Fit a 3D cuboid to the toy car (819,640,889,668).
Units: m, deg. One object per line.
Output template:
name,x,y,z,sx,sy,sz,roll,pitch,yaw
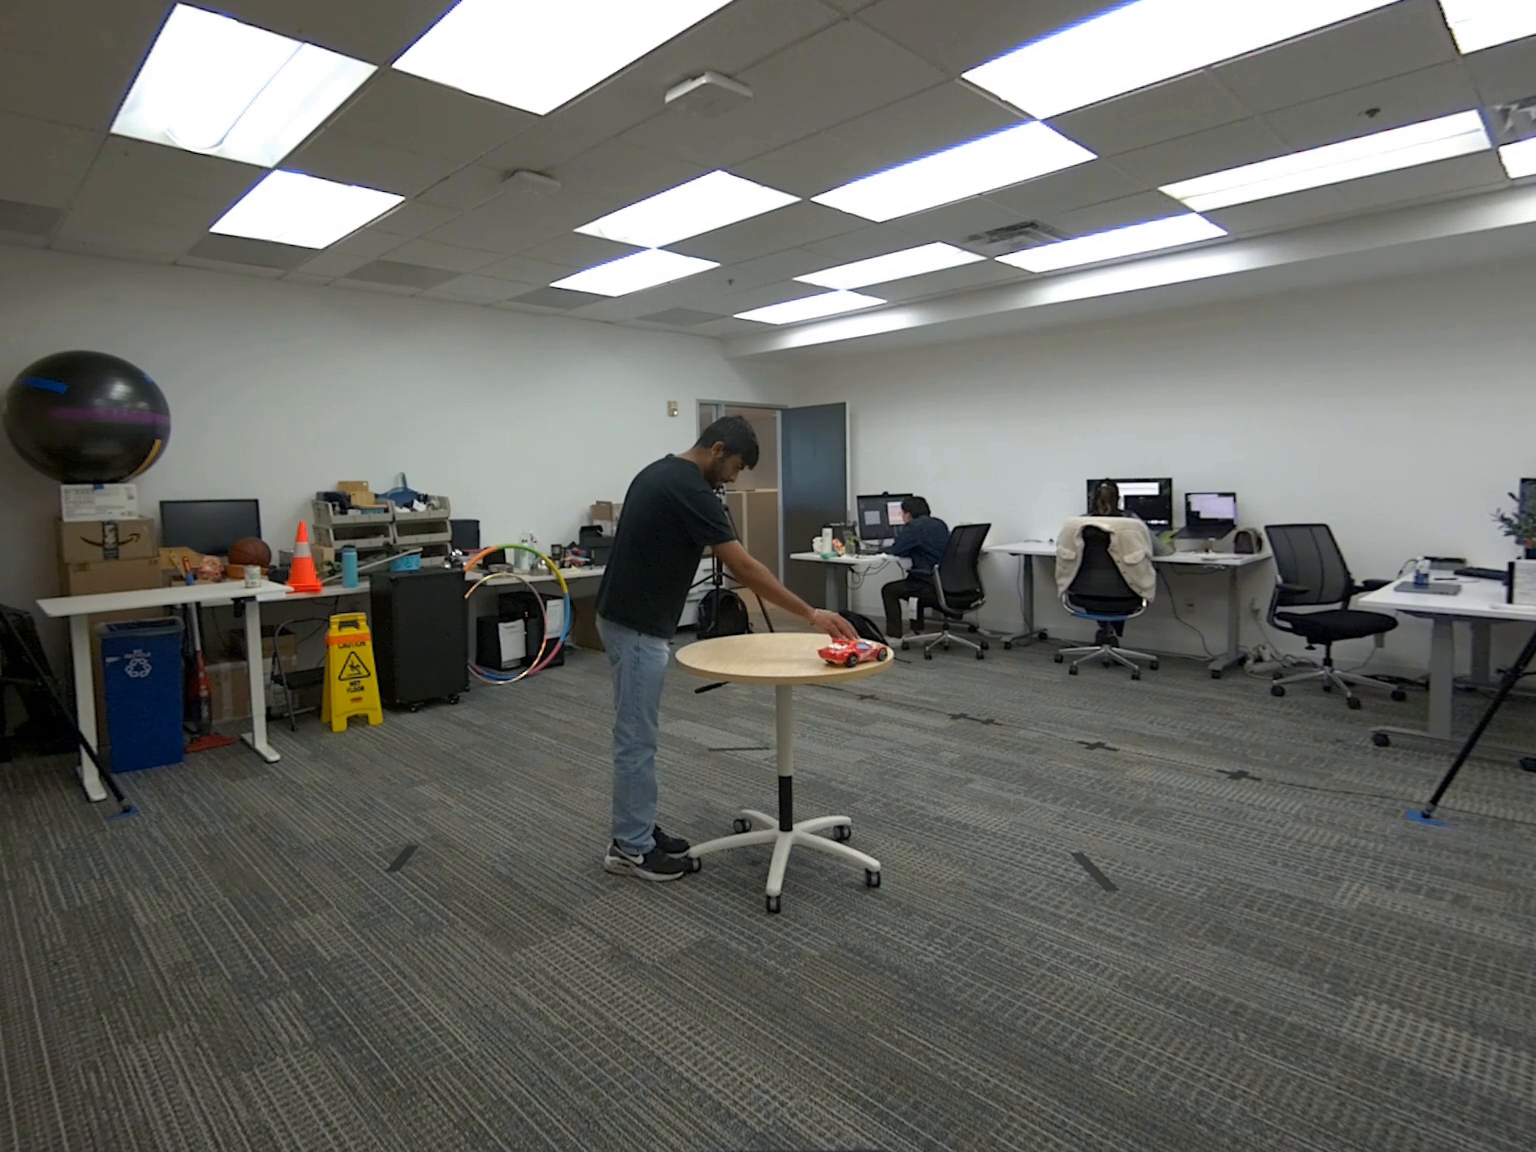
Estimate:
toy car,0.281,0.255,2.808,0.246,0.083,0.134,7,-2,-39
